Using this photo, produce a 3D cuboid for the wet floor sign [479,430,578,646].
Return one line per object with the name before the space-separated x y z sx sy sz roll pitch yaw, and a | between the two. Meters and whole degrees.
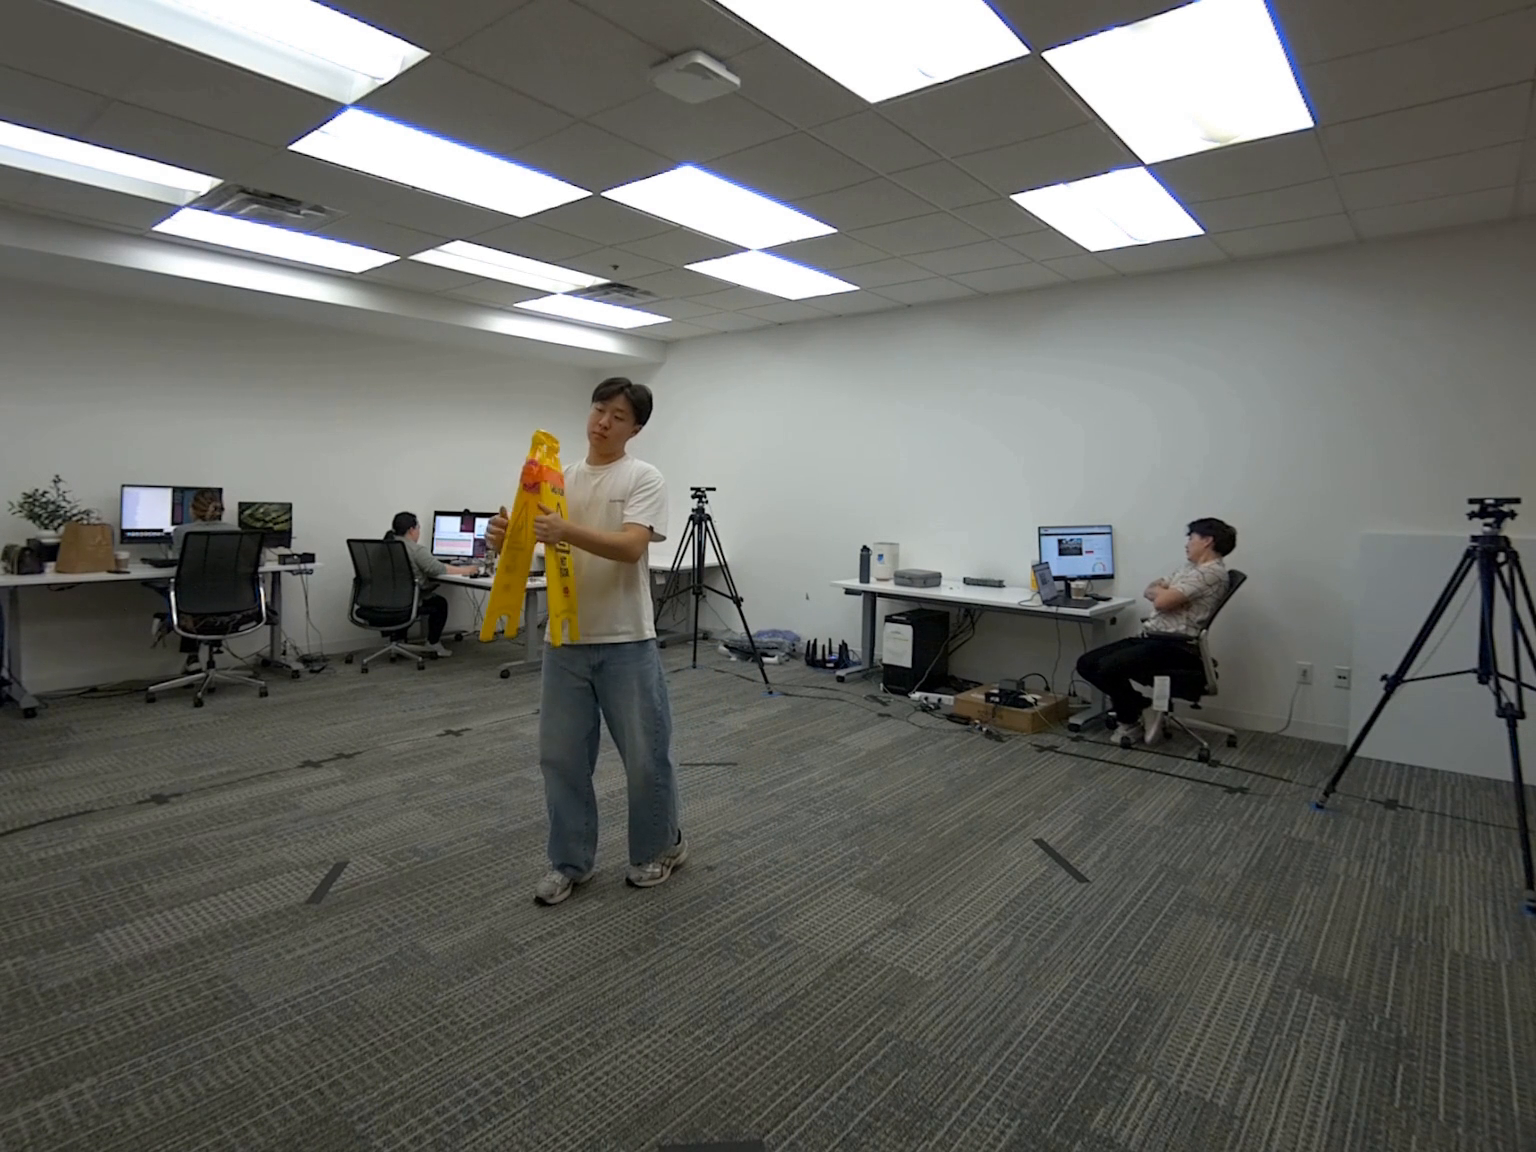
wet floor sign | -0.724 -0.128 2.652 0.291 0.647 0.280 5 -2 4
